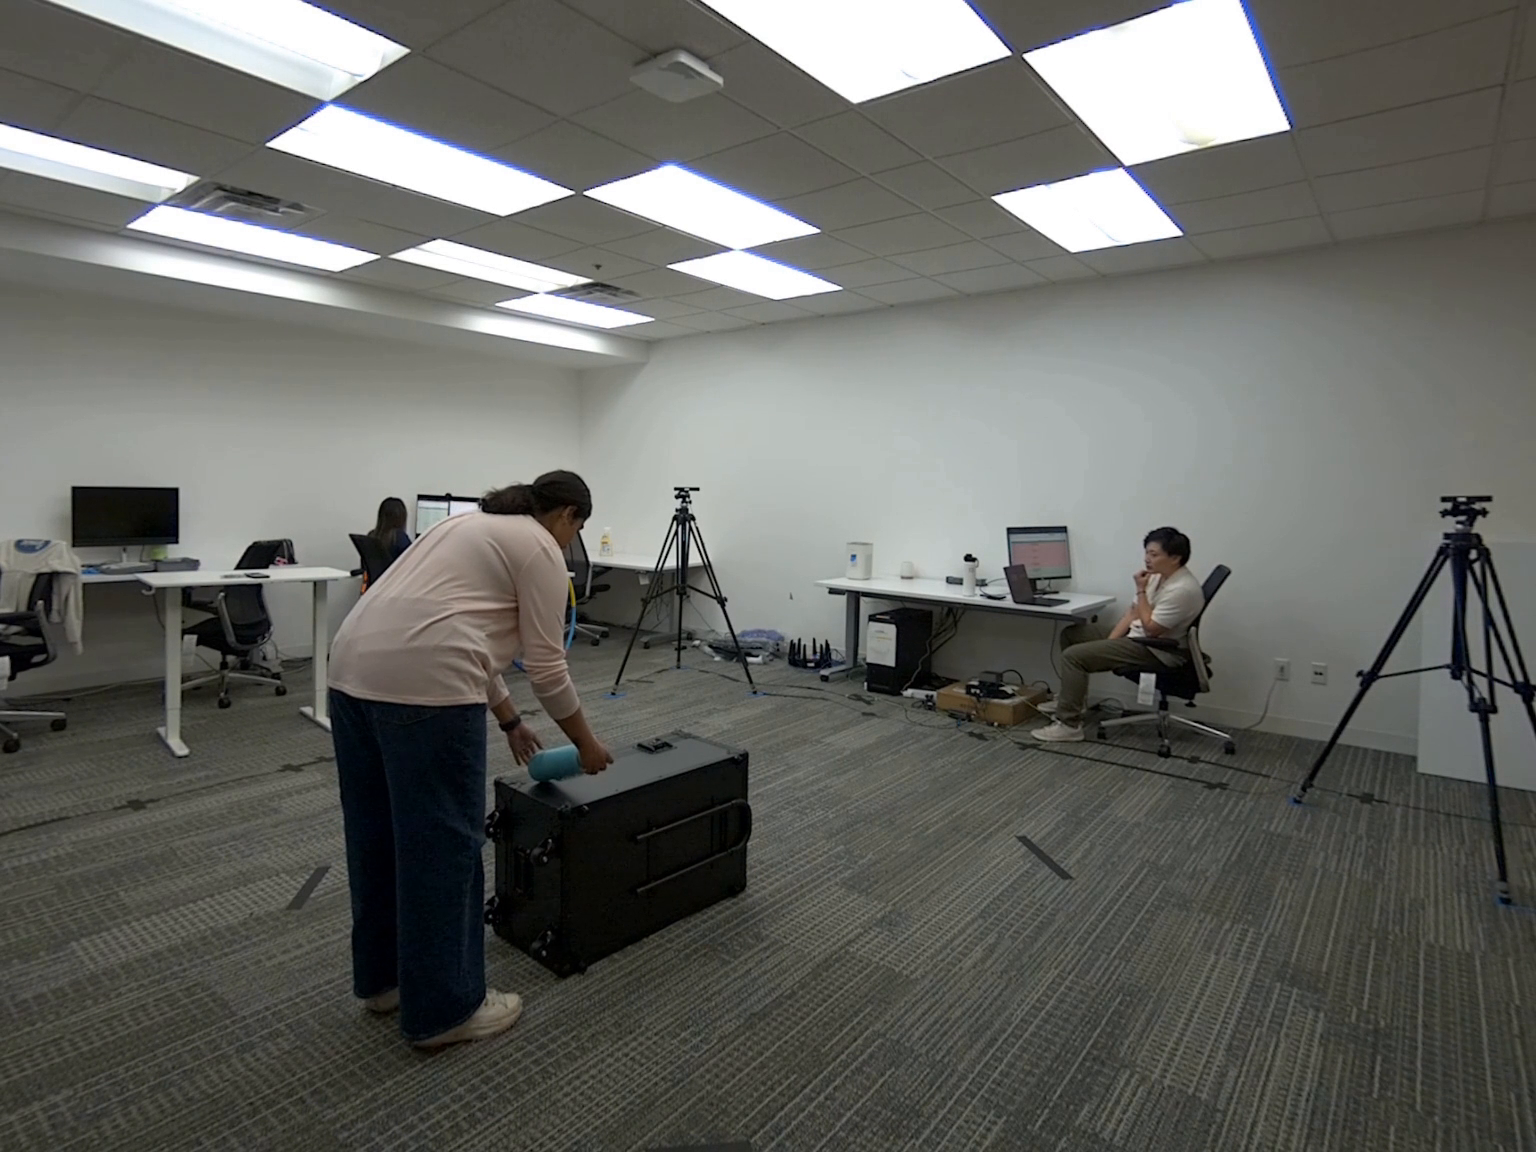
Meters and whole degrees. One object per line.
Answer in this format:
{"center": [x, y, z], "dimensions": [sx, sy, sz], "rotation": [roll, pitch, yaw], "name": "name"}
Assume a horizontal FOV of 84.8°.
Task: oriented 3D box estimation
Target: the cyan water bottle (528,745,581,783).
{"center": [-0.605, 0.548, 2.529], "dimensions": [0.288, 0.093, 0.090], "rotation": [-21, -10, 36], "name": "cyan water bottle"}
